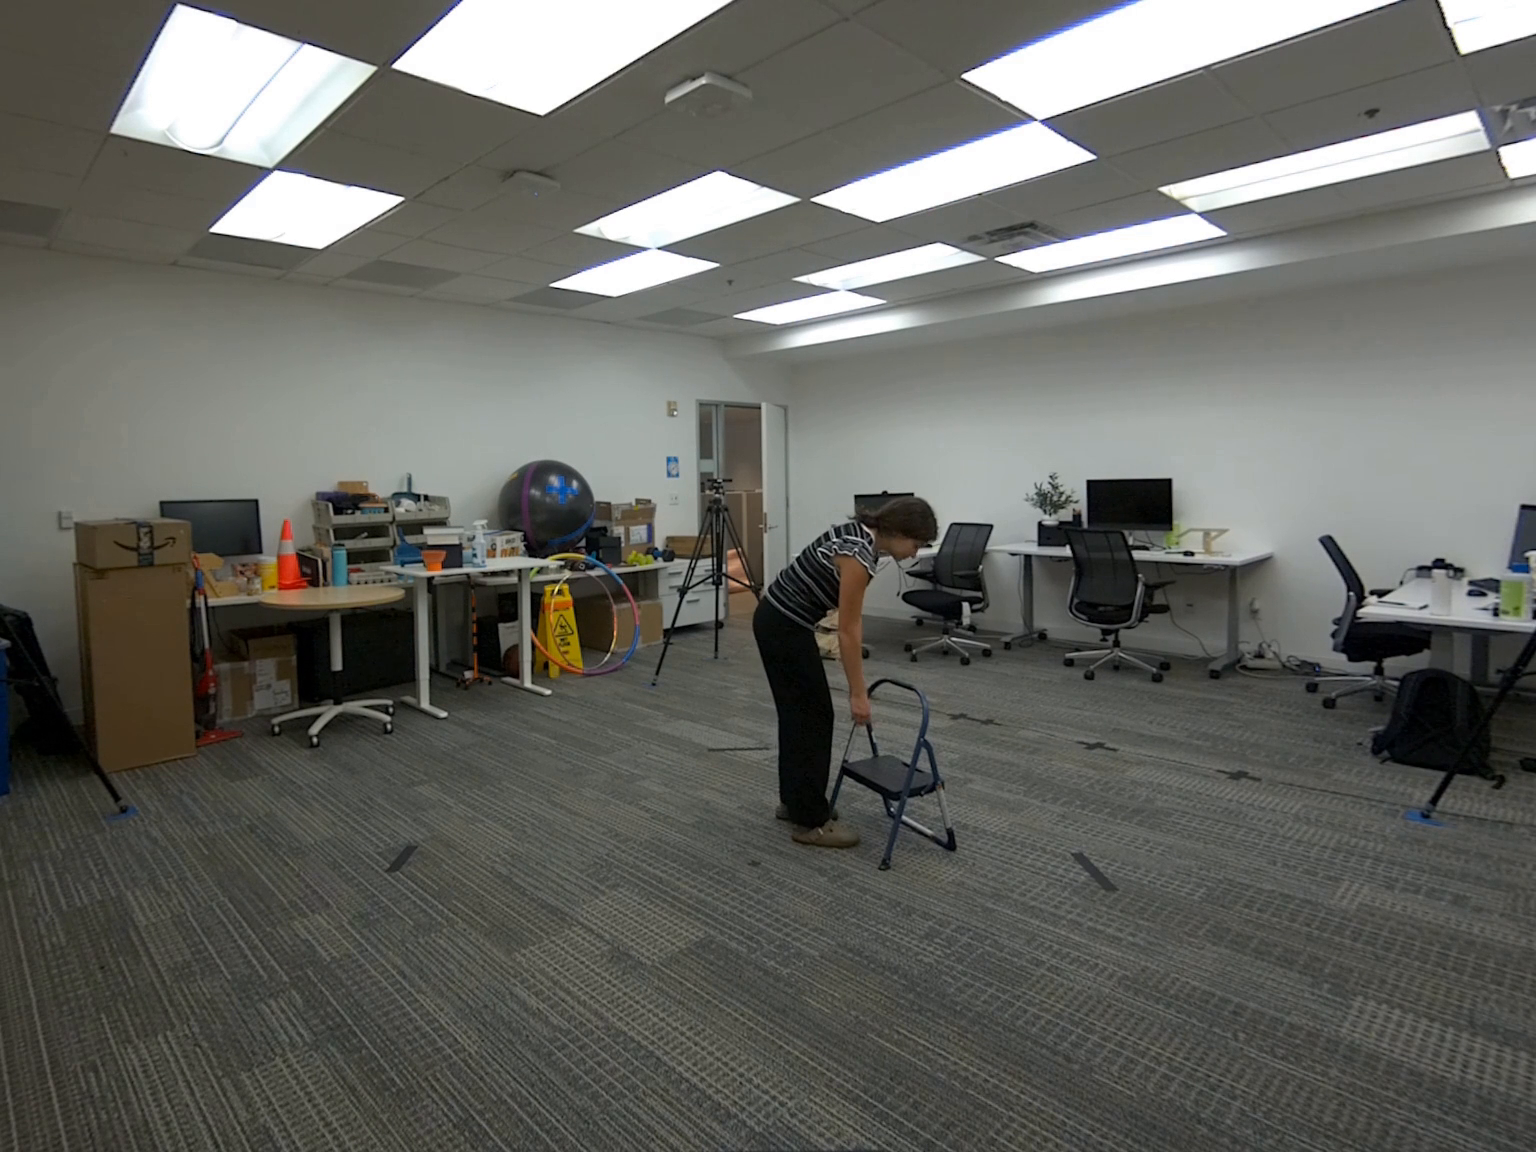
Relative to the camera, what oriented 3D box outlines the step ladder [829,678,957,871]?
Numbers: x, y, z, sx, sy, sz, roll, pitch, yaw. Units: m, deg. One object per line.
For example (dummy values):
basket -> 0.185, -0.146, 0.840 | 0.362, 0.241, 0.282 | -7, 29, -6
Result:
step ladder -> 0.458, 0.714, 3.275 | 0.341, 0.604, 0.442 | -2, 4, -27
